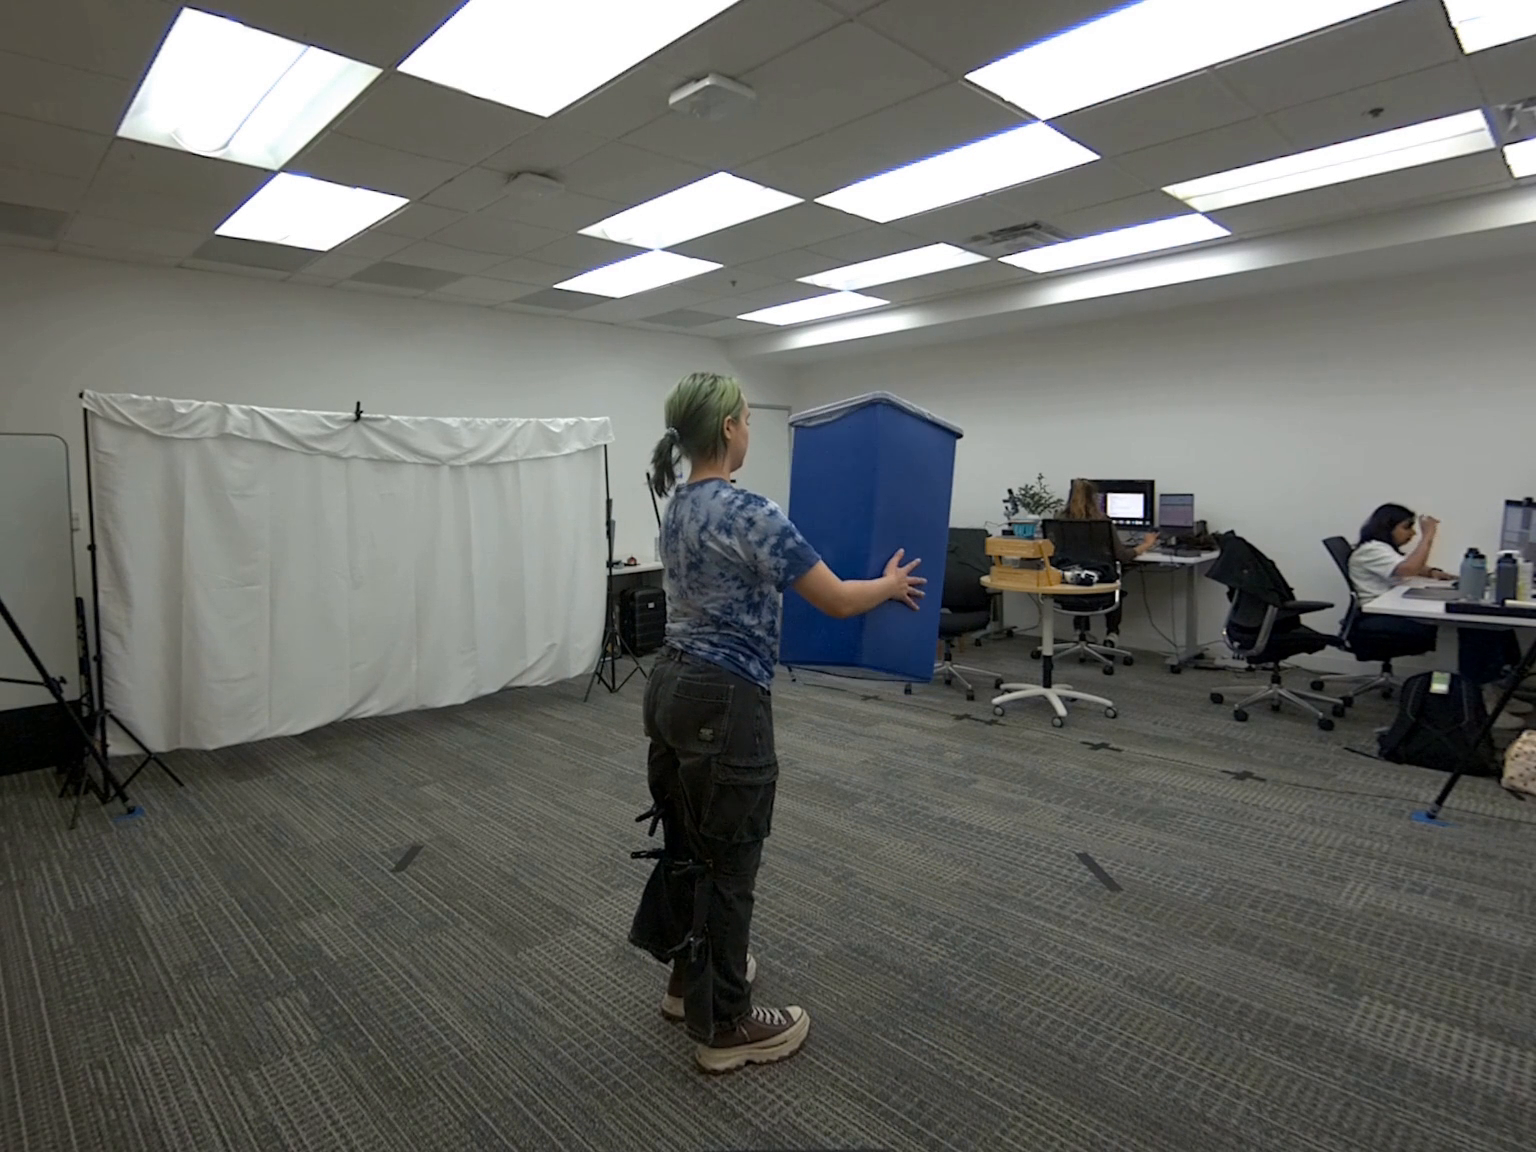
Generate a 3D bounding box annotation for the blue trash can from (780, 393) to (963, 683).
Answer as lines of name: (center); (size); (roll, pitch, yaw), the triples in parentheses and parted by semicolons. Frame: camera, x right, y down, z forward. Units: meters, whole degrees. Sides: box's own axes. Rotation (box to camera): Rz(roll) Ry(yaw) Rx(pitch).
blue trash can: (0.274, -0.088, 2.357); (0.361, 0.721, 0.387); (16, -16, -39)
